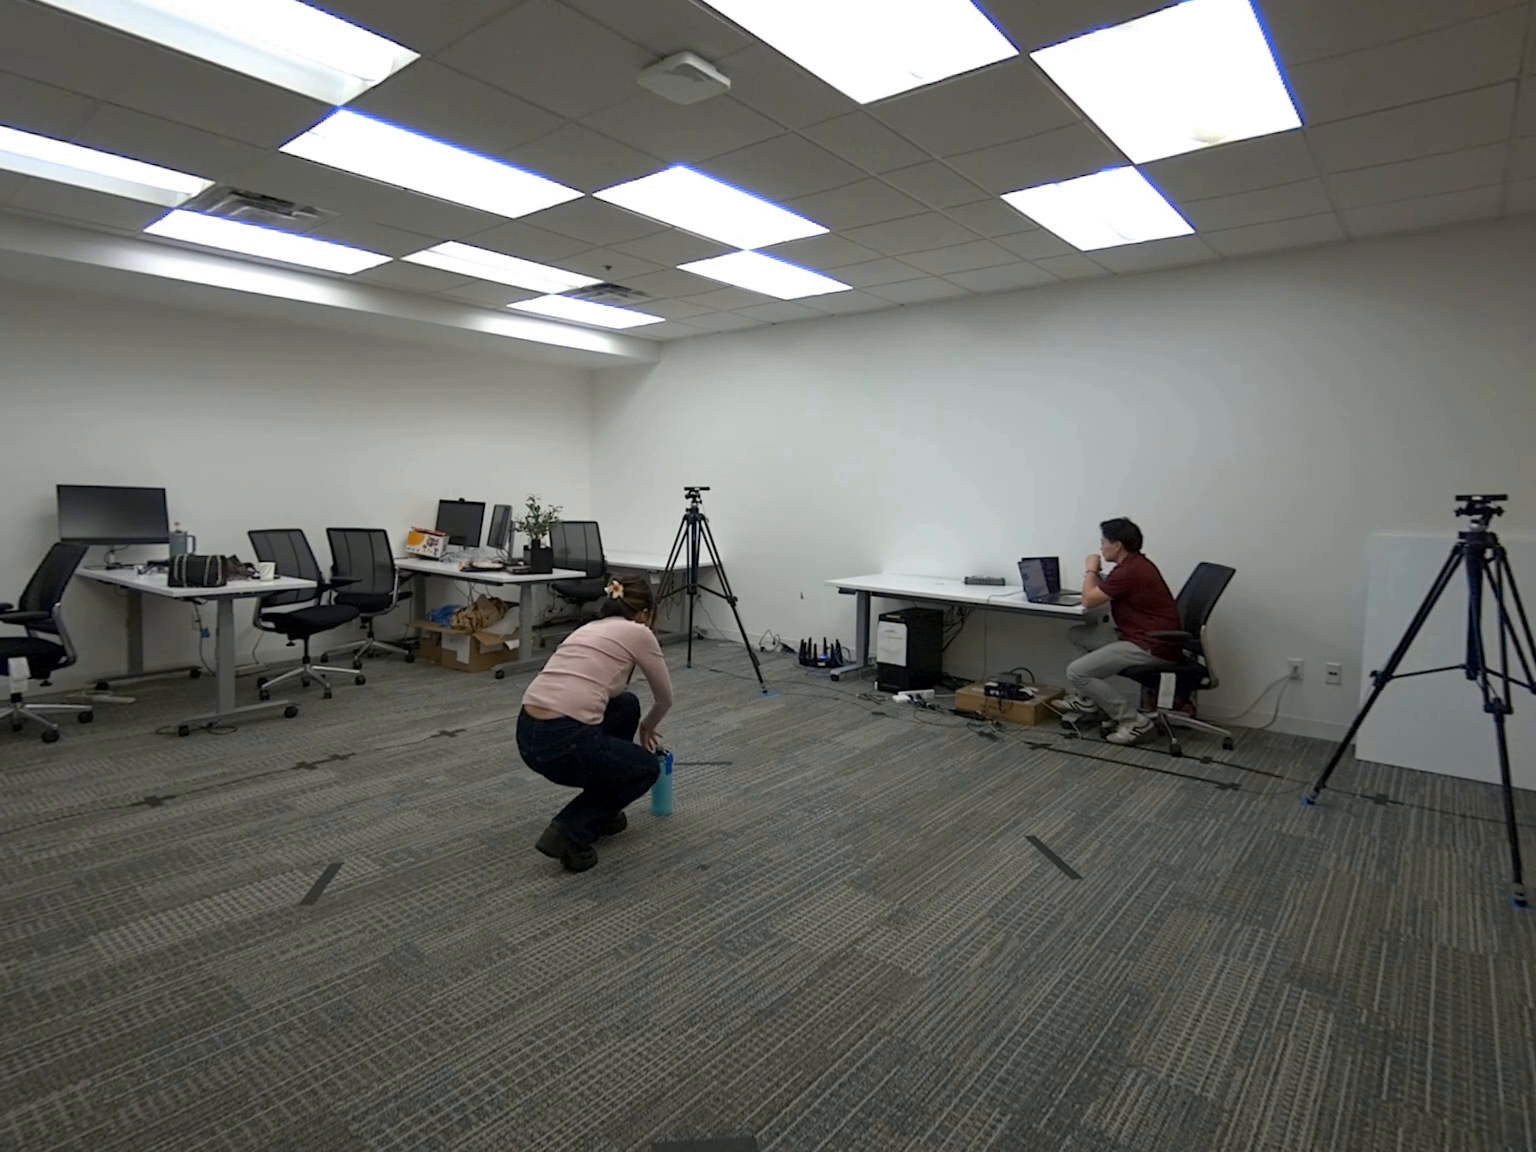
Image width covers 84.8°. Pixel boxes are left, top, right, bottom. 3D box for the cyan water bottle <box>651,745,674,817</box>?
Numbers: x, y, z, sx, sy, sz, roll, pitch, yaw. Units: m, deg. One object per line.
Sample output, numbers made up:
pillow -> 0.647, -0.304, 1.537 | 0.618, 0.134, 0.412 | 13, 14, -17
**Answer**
cyan water bottle -> -0.466, 0.873, 3.641 | 0.092, 0.282, 0.093 | 1, 3, -2
